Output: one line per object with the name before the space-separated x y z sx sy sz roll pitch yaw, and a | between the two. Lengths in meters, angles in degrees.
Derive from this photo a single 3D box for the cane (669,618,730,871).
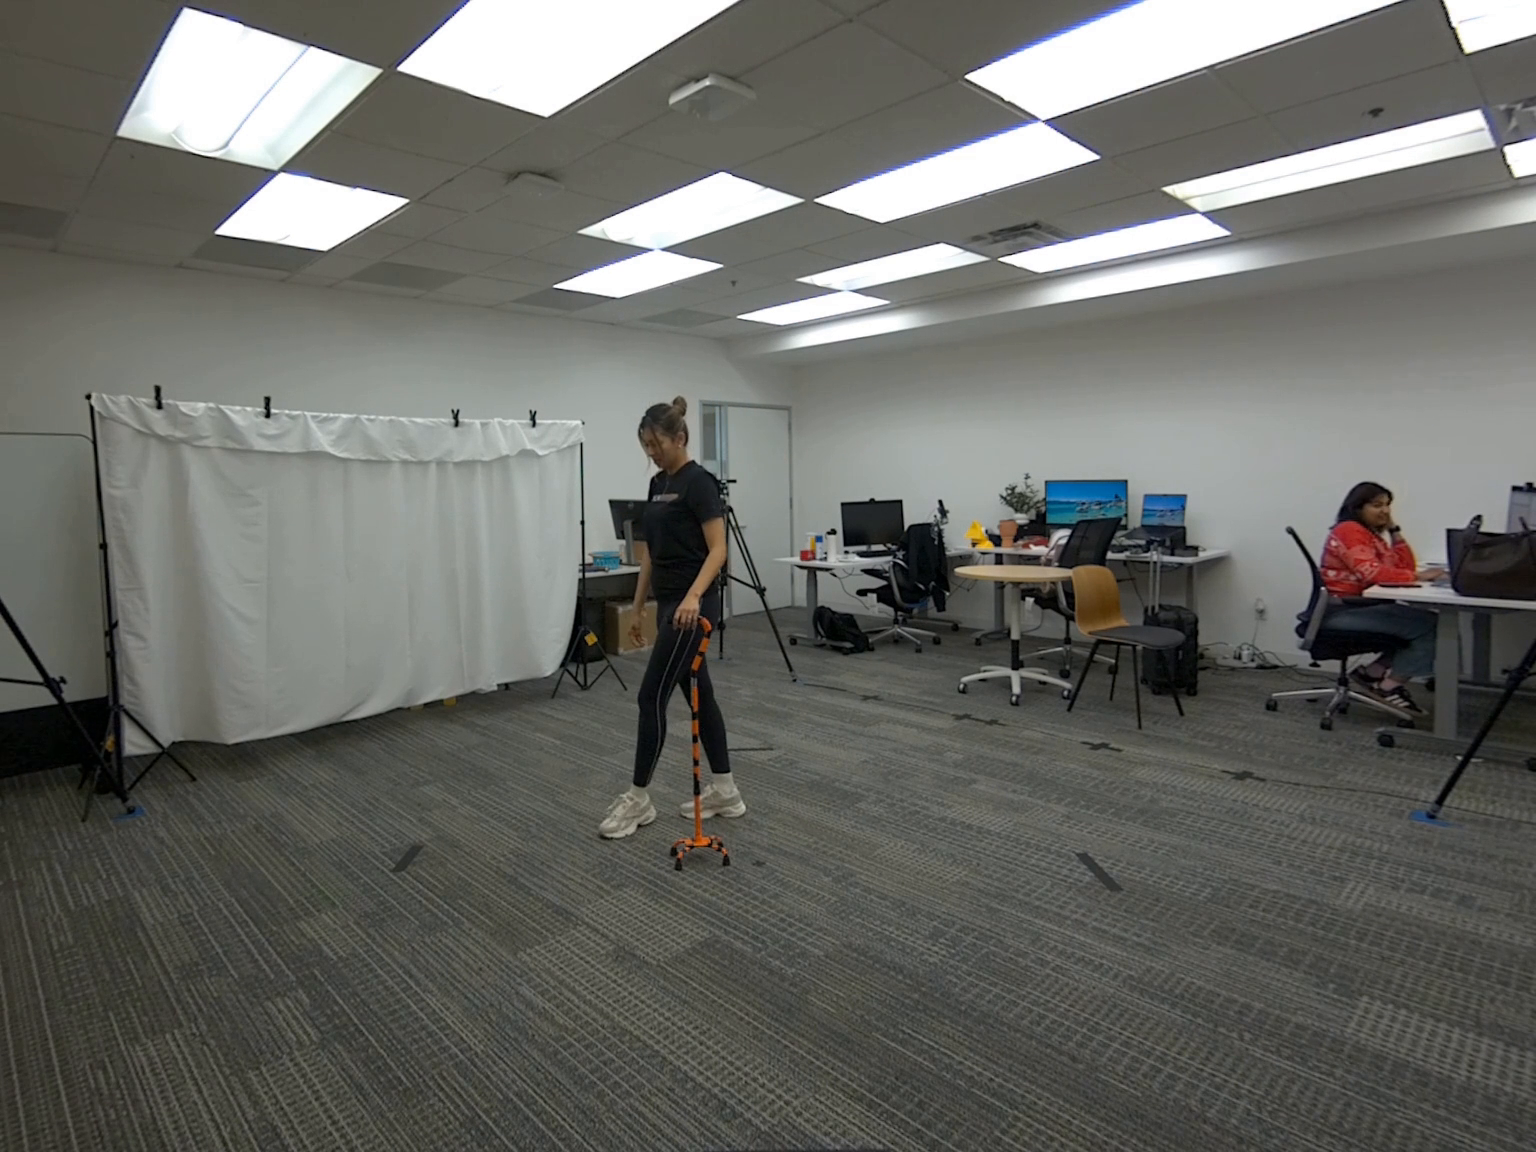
cane | -0.264 0.599 3.123 0.204 0.904 0.154 -2 4 -12
